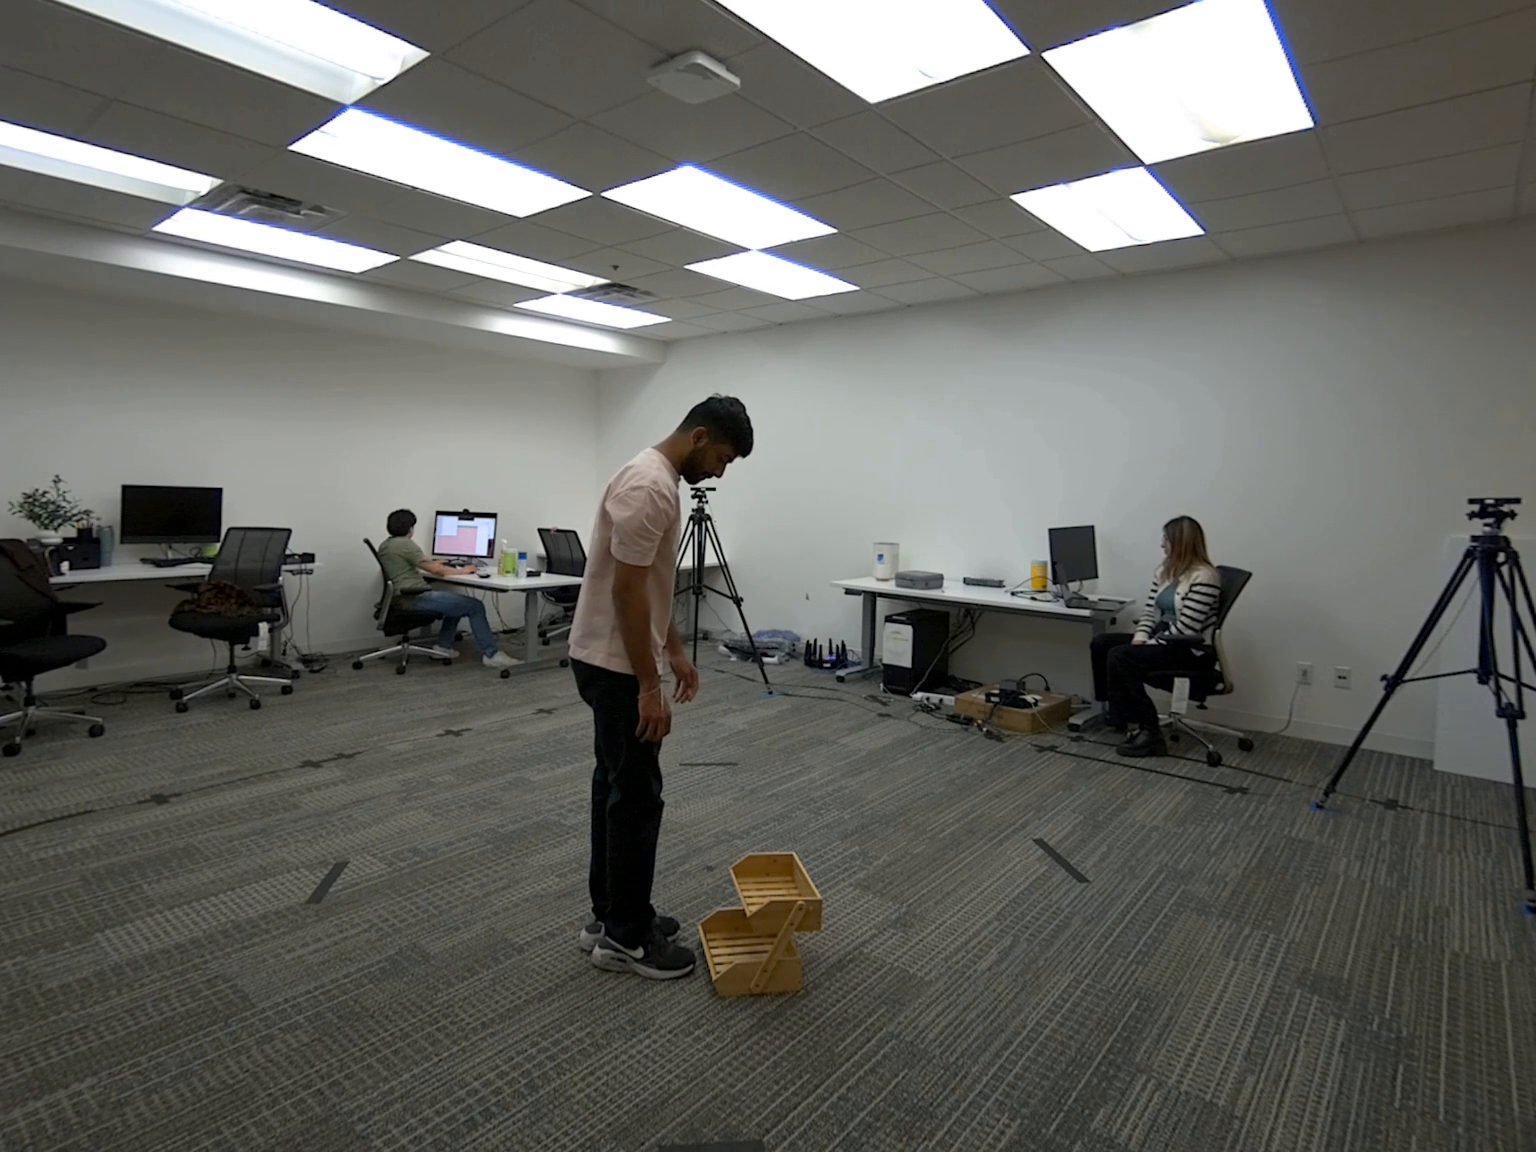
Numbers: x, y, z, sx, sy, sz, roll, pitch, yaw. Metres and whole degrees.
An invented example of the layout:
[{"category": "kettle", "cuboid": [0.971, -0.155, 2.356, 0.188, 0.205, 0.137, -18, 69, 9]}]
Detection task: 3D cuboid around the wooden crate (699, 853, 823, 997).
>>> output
[{"category": "wooden crate", "cuboid": [-0.043, 1.003, 2.471, 0.298, 0.272, 0.330, 1, 5, -13]}]
